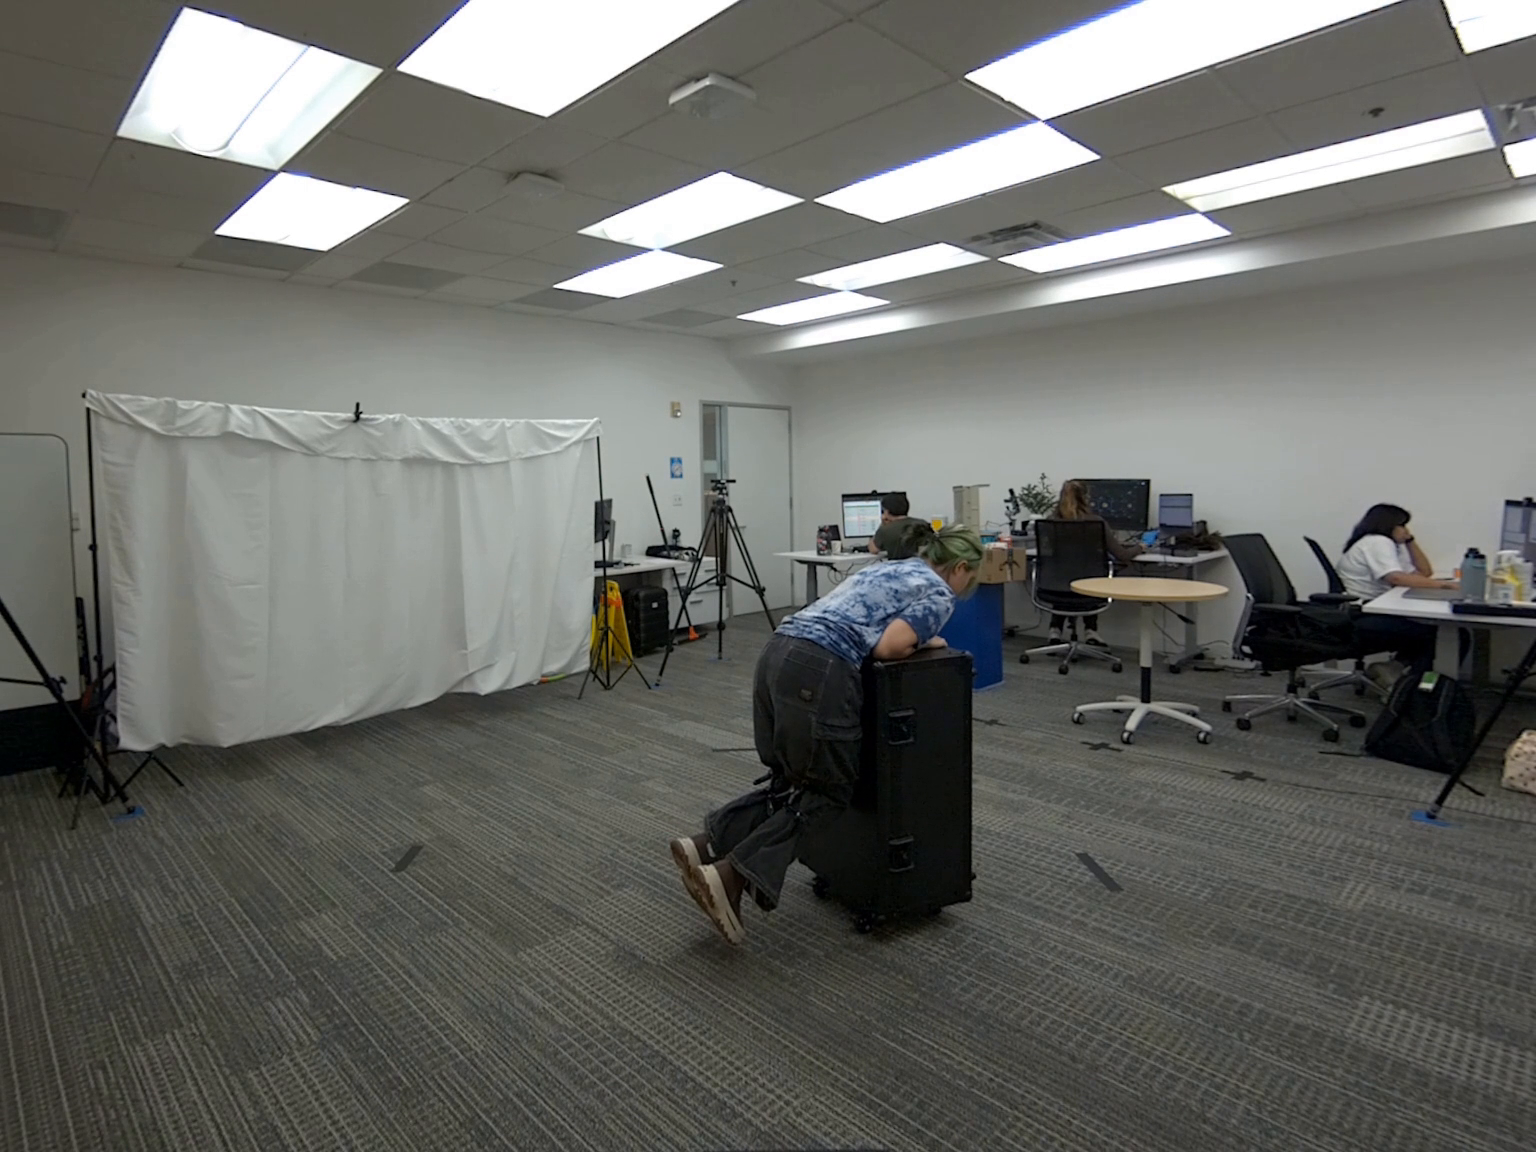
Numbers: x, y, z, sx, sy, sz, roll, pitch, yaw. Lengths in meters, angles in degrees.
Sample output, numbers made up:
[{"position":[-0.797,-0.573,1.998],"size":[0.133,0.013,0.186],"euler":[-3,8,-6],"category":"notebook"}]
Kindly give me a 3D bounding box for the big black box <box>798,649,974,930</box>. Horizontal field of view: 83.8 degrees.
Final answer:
[{"position":[0.384,0.599,2.795],"size":[0.388,0.858,0.534],"euler":[-2,5,-26],"category":"big black box"}]
